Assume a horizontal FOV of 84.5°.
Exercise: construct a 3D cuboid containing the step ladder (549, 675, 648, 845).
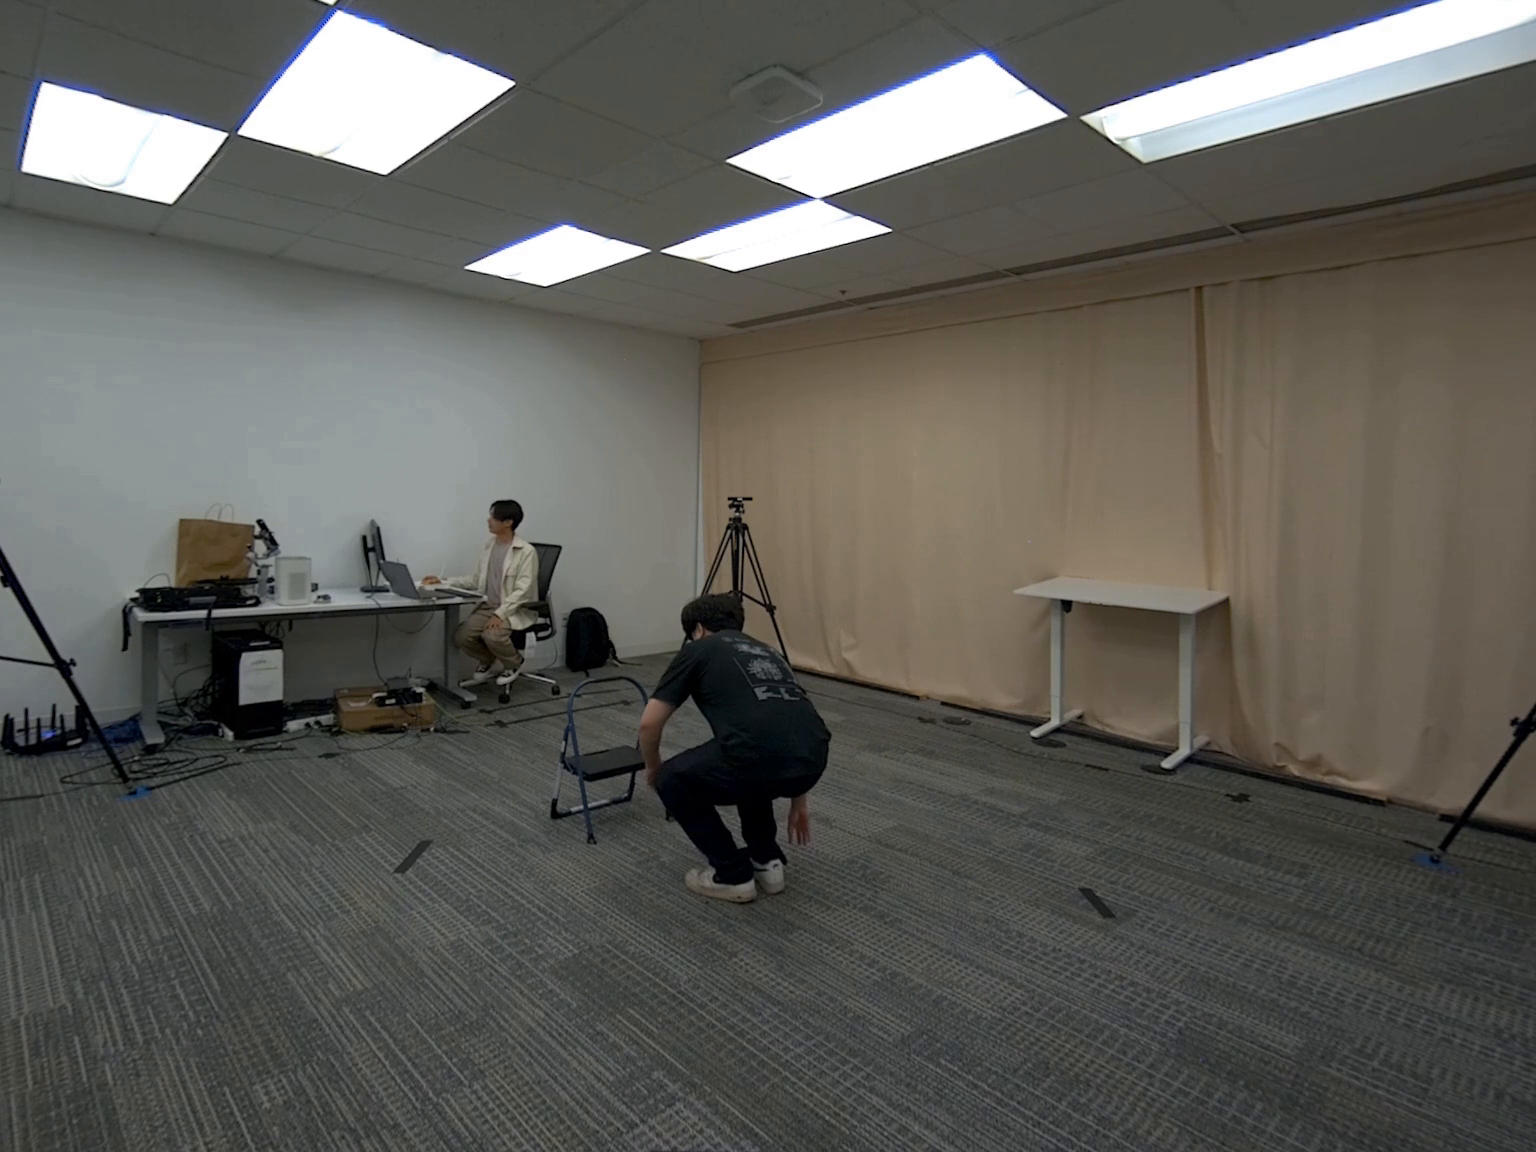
[{"bbox_3d":[-0.672,0.748,3.613,0.421,0.605,0.358,-2,5,-43],"label":"step ladder"}]
